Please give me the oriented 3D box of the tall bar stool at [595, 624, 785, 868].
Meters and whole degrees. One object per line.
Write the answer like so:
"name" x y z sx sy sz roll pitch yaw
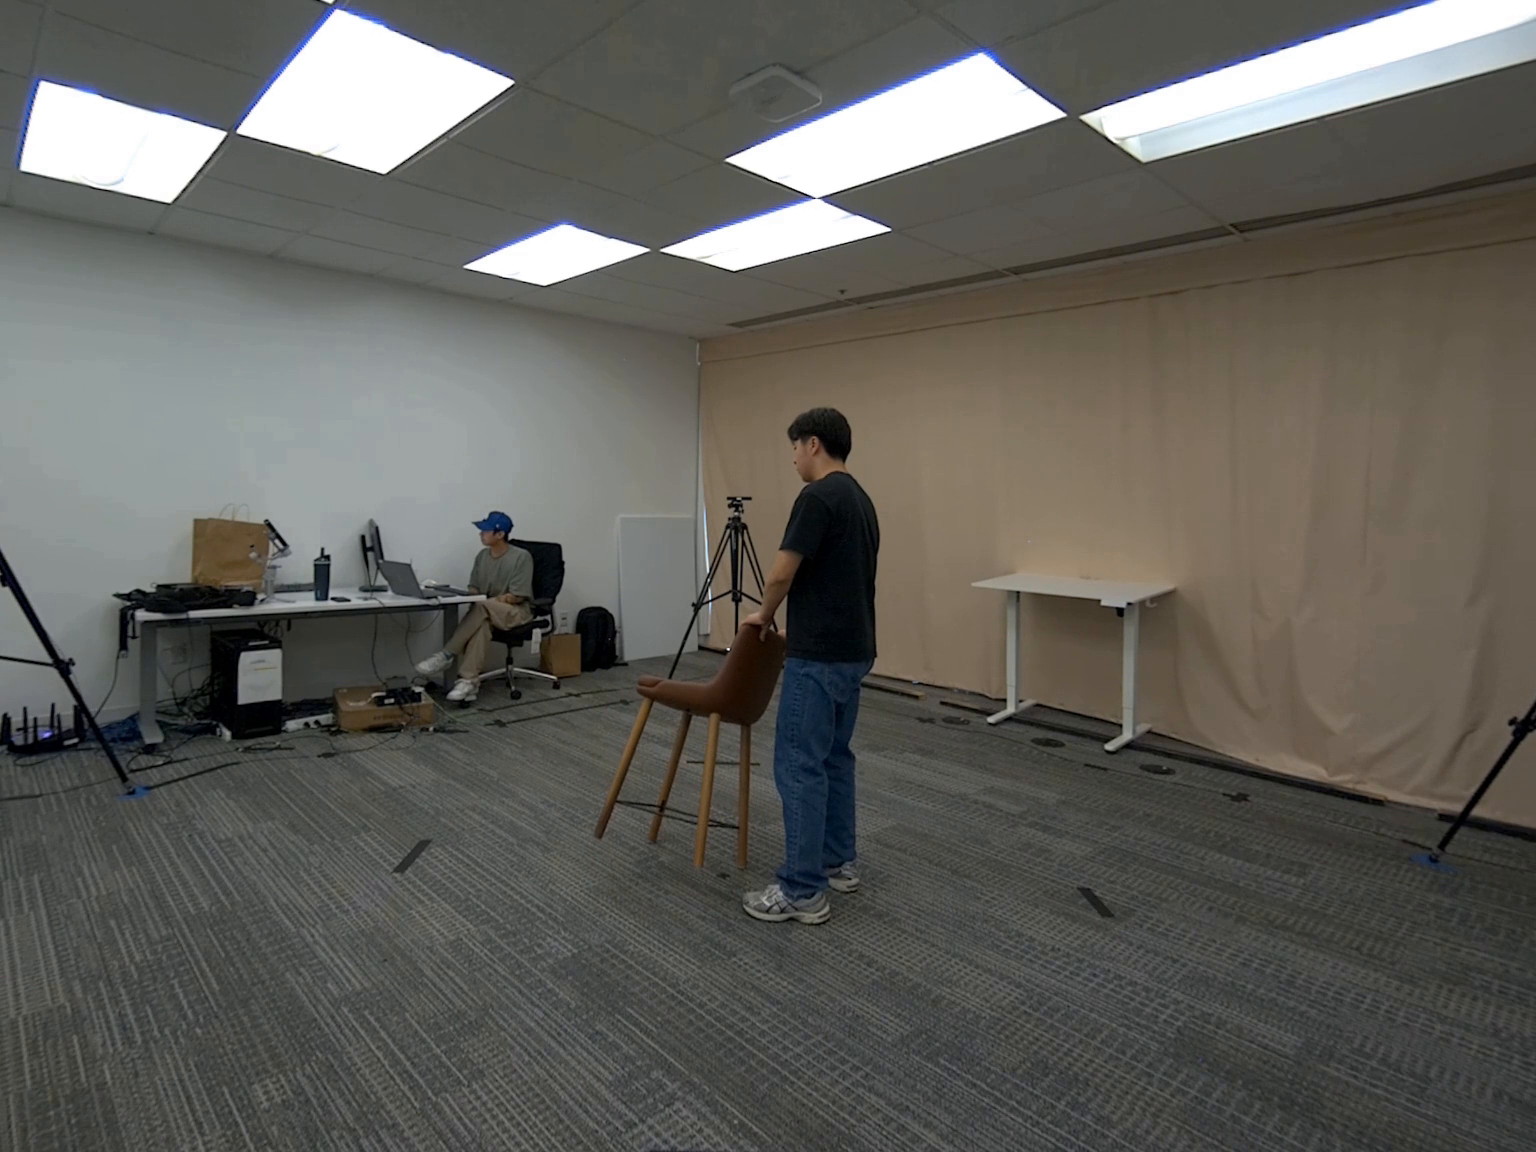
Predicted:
"tall bar stool" -0.270 0.621 3.235 0.478 0.896 0.443 6 -15 29
